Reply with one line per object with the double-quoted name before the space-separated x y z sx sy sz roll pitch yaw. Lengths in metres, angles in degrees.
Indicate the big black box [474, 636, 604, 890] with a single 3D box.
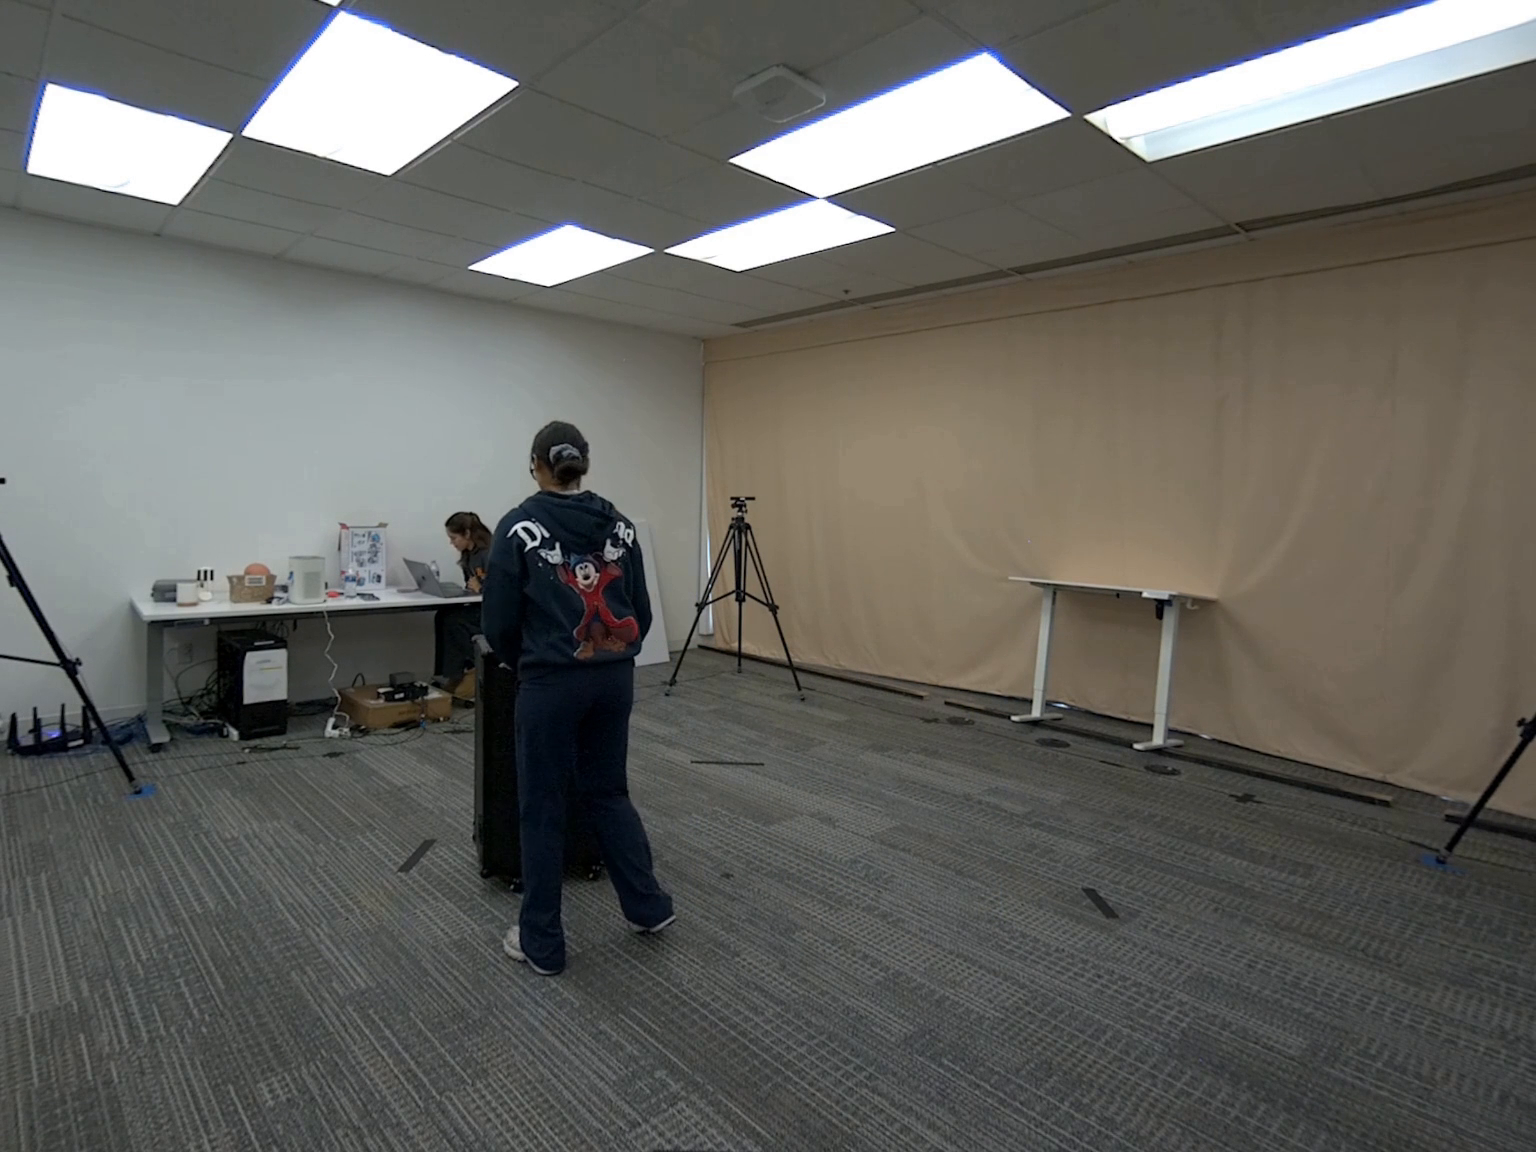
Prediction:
"big black box" -0.836 0.667 3.111 0.512 0.860 0.404 0 3 -23
